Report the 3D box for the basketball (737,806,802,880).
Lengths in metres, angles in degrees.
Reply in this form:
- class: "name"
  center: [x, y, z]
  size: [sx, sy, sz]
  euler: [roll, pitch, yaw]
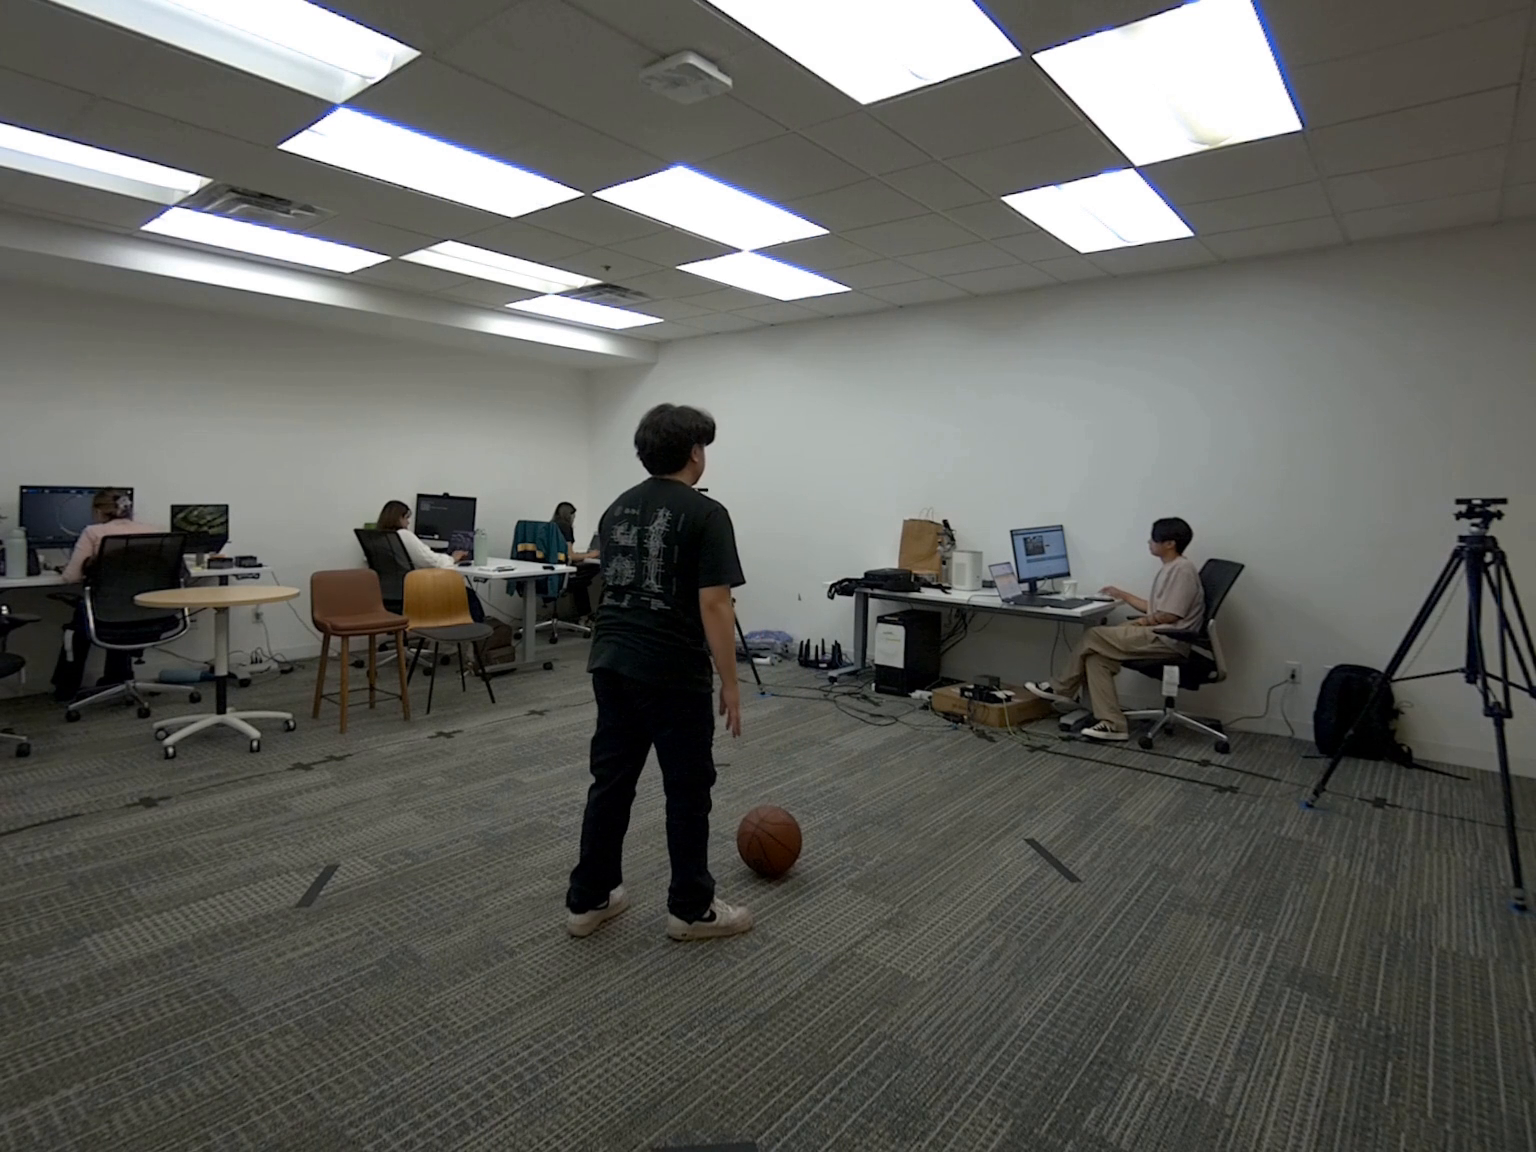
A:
- class: "basketball"
  center: [-0.005, 0.950, 3.090]
  size: [0.235, 0.235, 0.237]
  euler: [1, 4, -2]
